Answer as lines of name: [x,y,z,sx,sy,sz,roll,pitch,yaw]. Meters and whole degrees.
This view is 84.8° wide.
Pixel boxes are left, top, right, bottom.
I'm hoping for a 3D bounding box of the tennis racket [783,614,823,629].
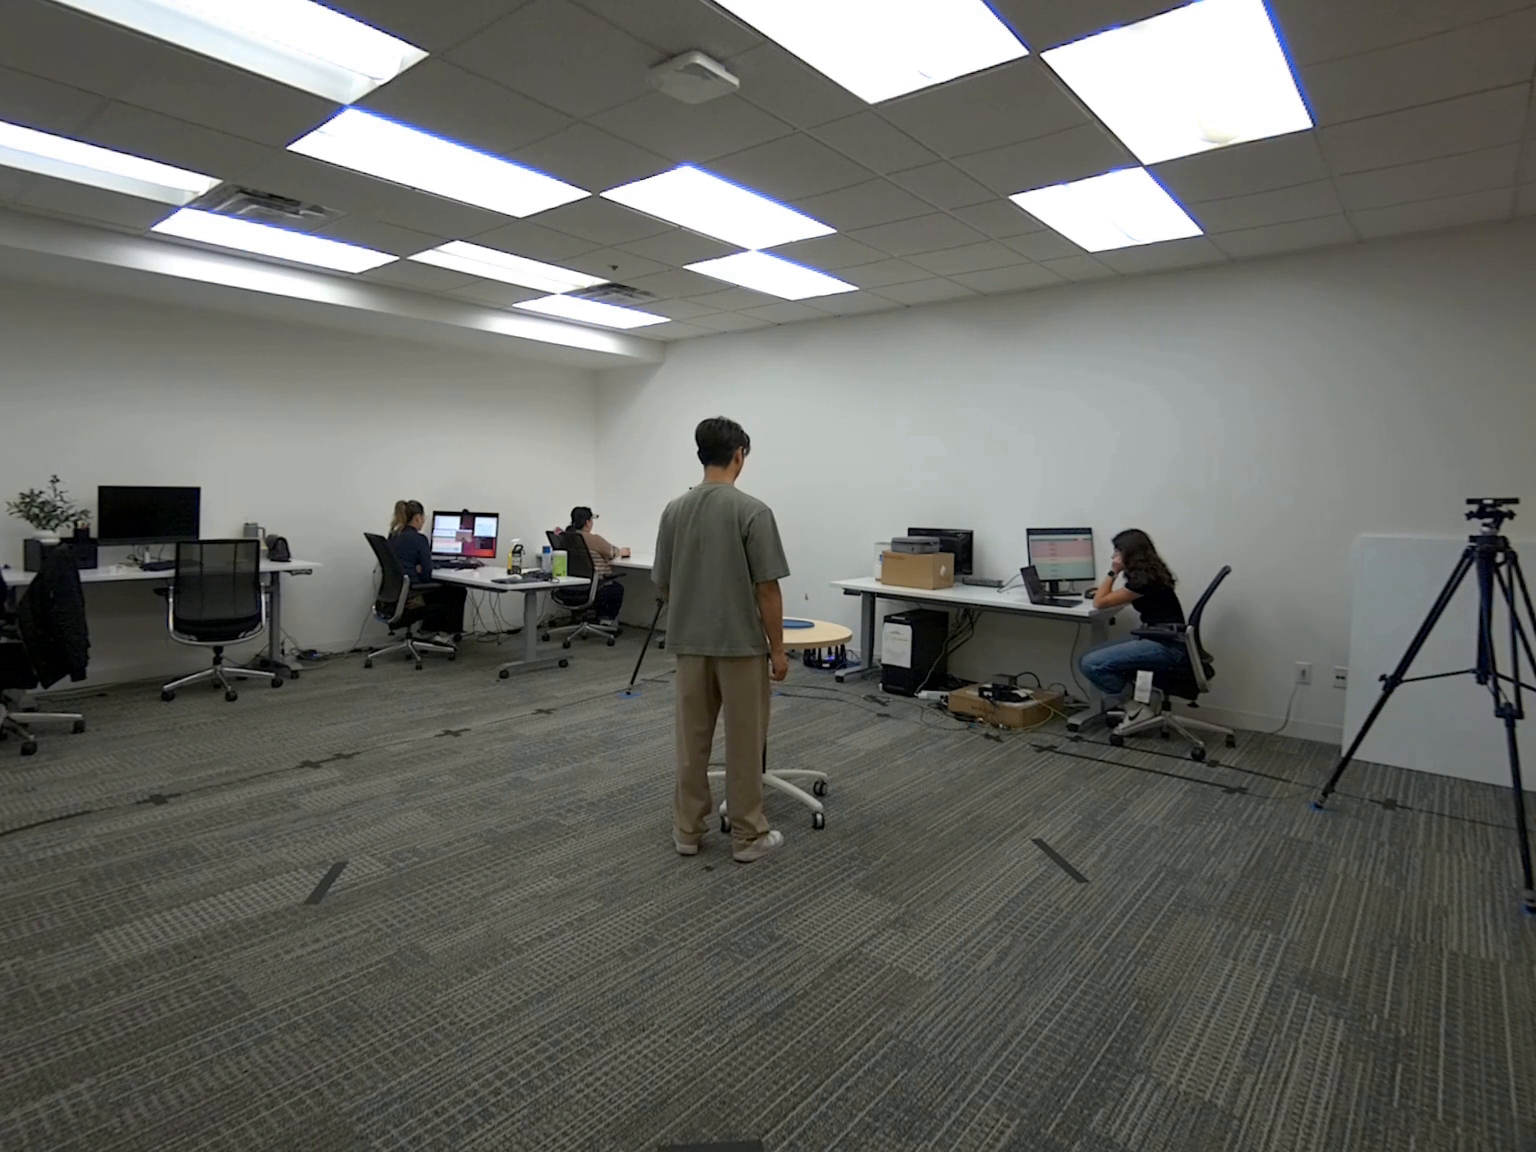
tennis racket: [0.007,0.206,3.781,0.421,0.032,0.220,0,4,-32]
